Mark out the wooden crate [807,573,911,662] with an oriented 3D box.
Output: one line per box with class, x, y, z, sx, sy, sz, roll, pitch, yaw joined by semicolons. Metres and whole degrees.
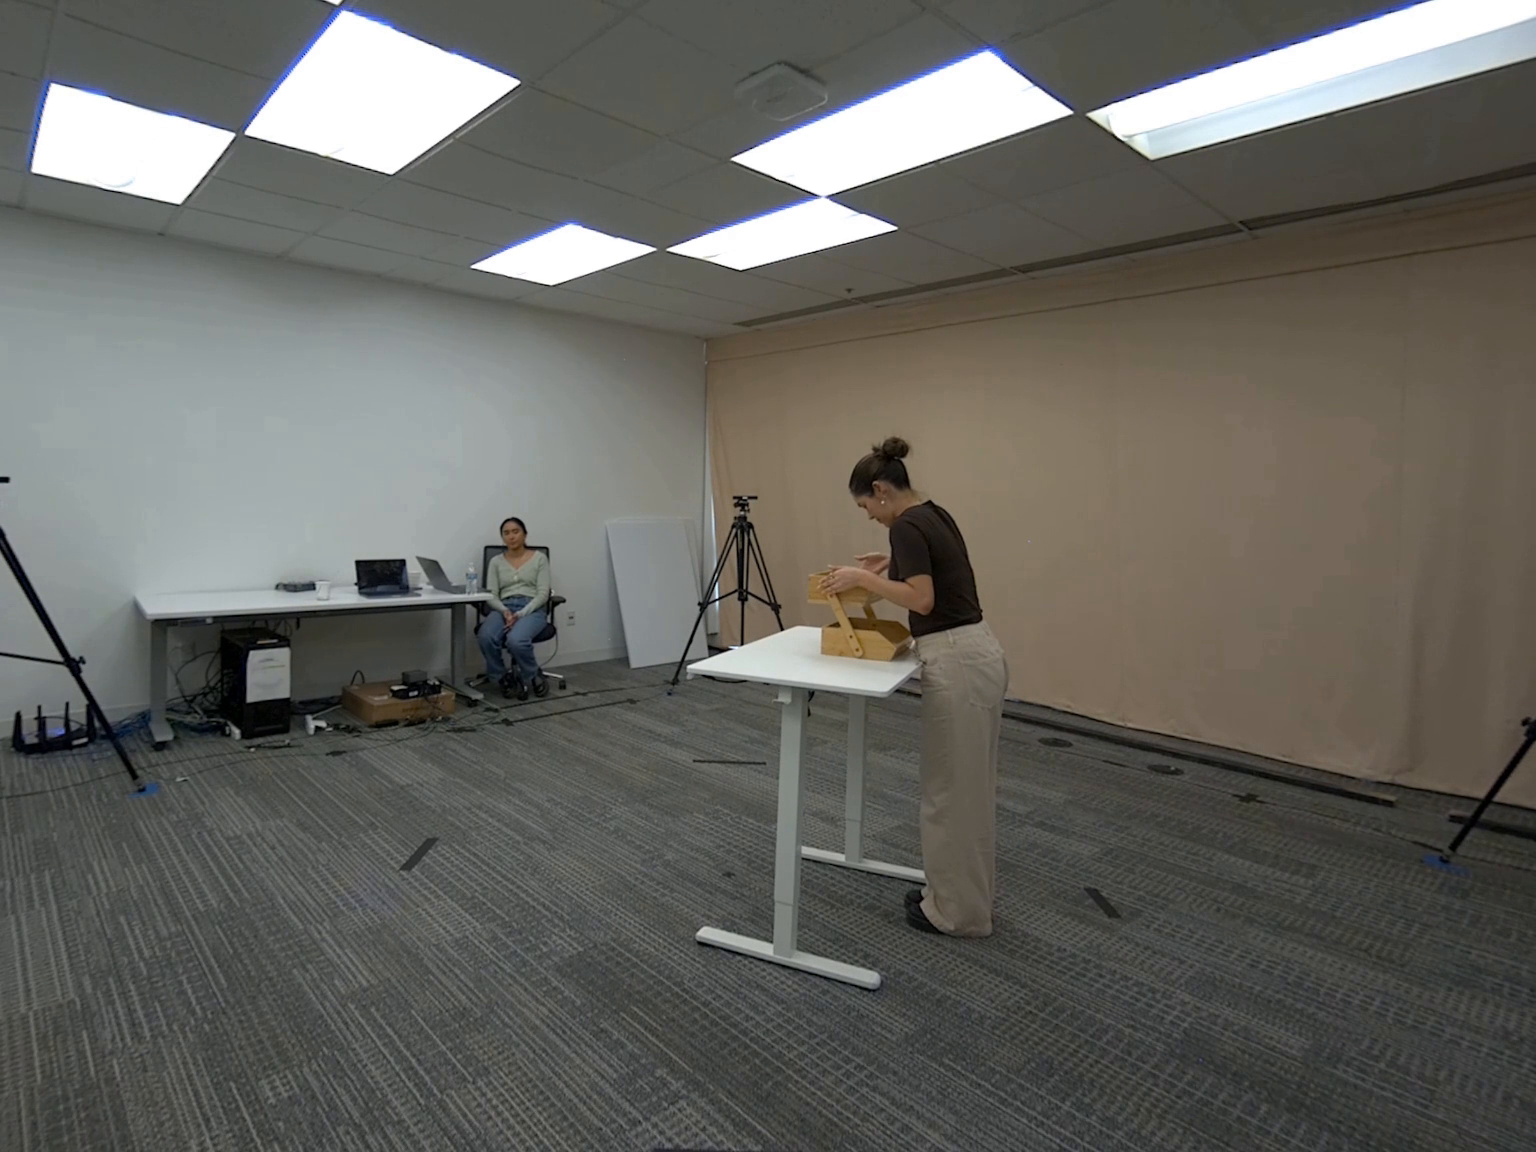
wooden crate;0.321;0.125;2.860;0.307;0.273;0.319;3;4;21
